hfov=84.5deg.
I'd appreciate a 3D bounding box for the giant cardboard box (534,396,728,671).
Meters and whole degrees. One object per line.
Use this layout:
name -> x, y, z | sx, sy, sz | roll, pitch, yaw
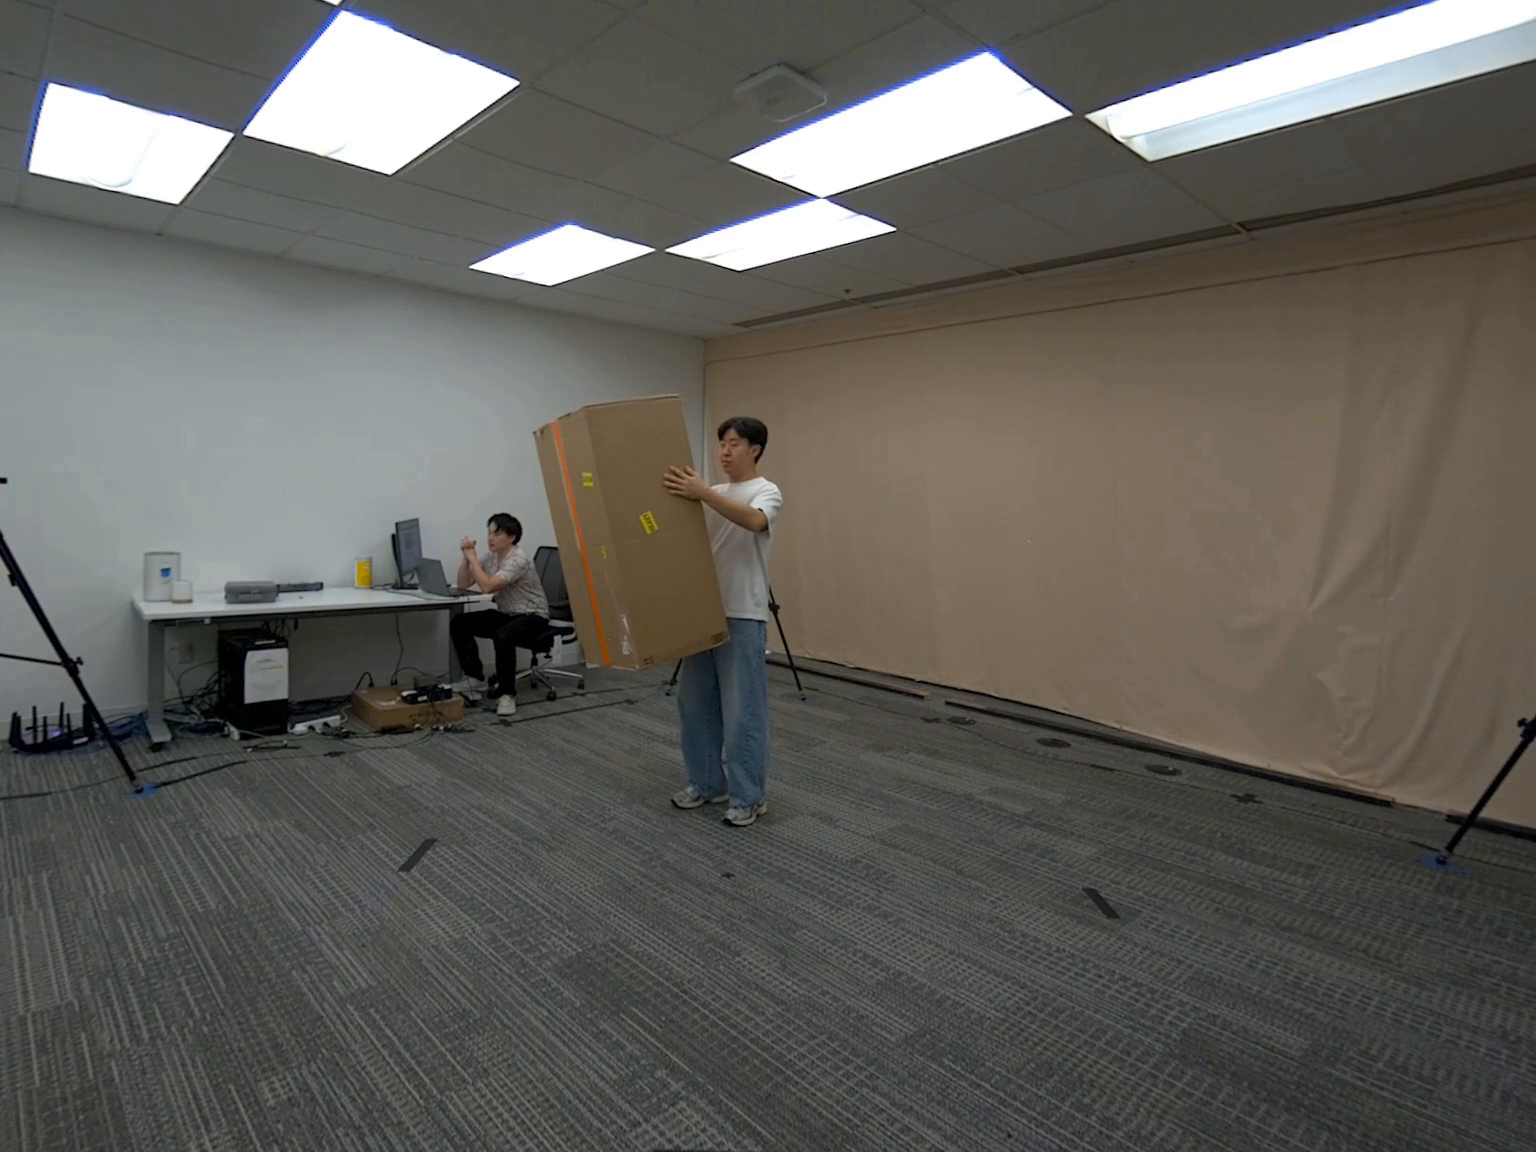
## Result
giant cardboard box -> -0.589, -0.173, 3.509 | 0.419, 1.022, 0.589 | -13, 5, -34
